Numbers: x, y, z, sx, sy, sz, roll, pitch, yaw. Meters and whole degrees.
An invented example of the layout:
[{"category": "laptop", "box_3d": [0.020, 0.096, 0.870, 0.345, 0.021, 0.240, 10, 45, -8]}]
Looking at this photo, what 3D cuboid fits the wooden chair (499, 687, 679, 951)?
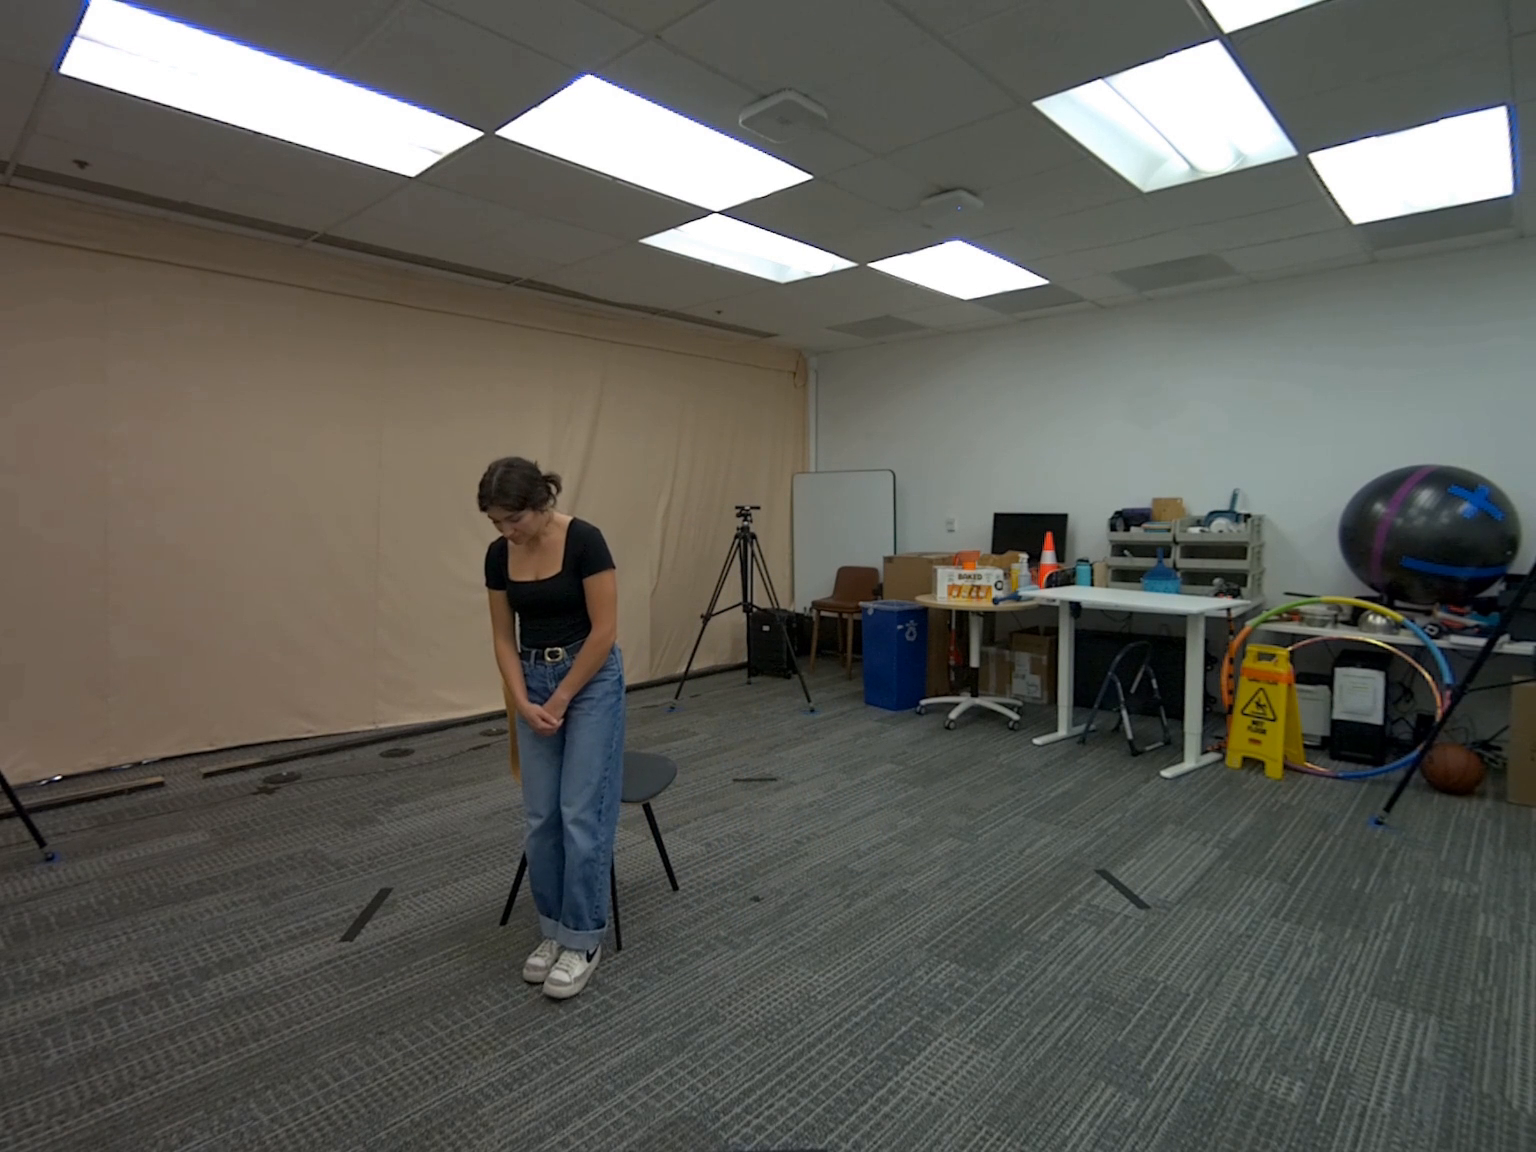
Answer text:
[{"category": "wooden chair", "box_3d": [-0.601, 0.729, 2.904, 0.534, 0.876, 0.469, -4, 2, 20]}]
